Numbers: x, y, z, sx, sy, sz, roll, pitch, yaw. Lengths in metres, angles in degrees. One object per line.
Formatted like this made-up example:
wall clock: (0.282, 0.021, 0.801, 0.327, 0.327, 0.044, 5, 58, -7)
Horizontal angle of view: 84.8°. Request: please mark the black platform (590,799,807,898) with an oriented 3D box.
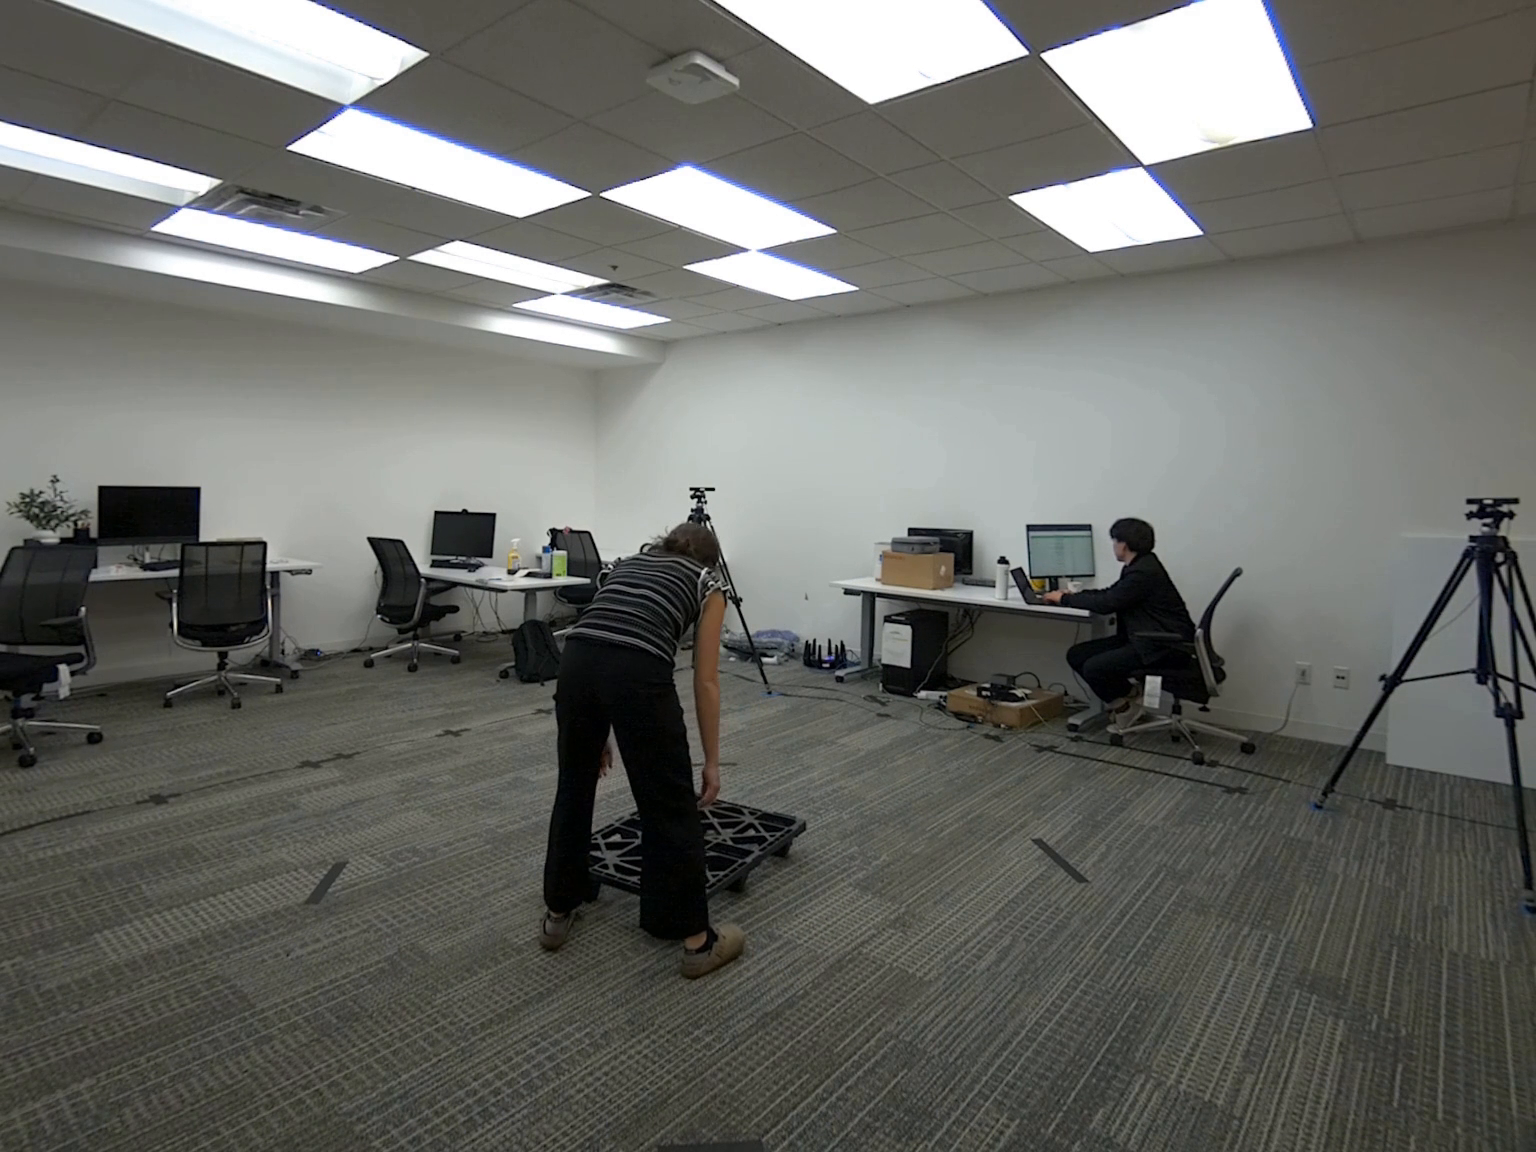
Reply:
black platform: (-0.315, 1.003, 3.068, 0.623, 0.143, 0.785, 3, 6, 31)
